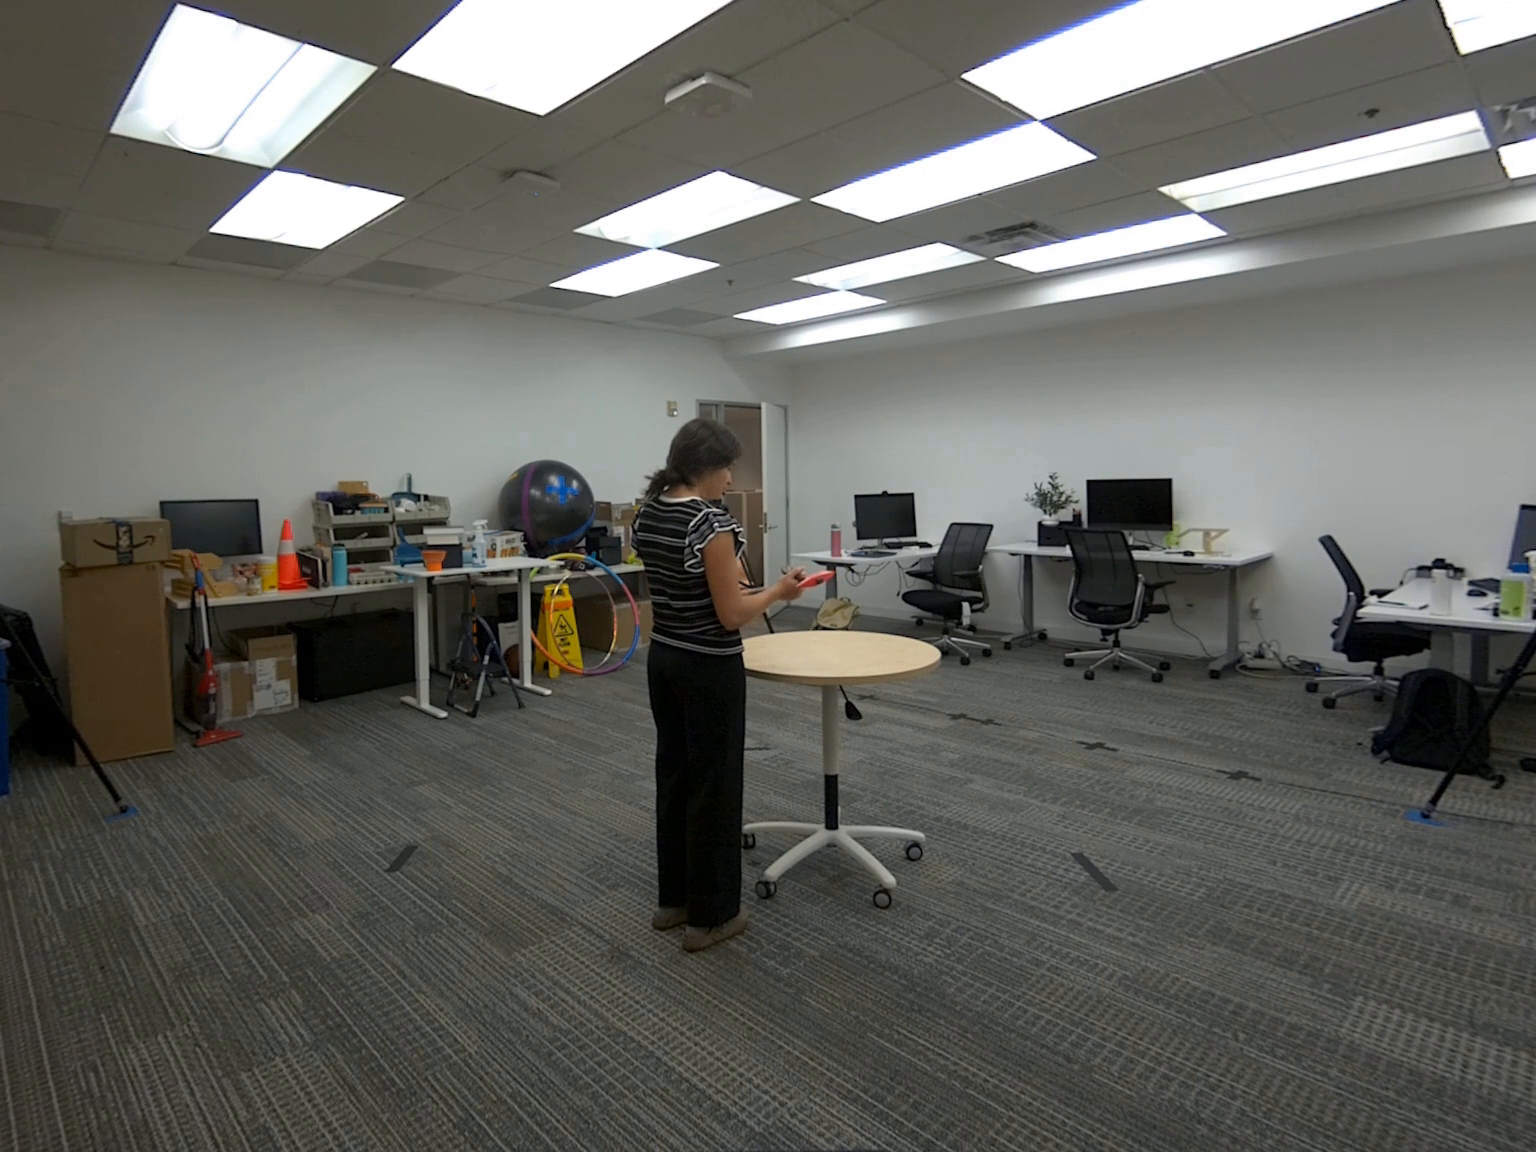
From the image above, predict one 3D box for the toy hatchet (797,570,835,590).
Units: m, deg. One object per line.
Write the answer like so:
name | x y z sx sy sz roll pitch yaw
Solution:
toy hatchet | 0.100 -0.006 2.670 0.130 0.029 0.274 -15 12 -5
